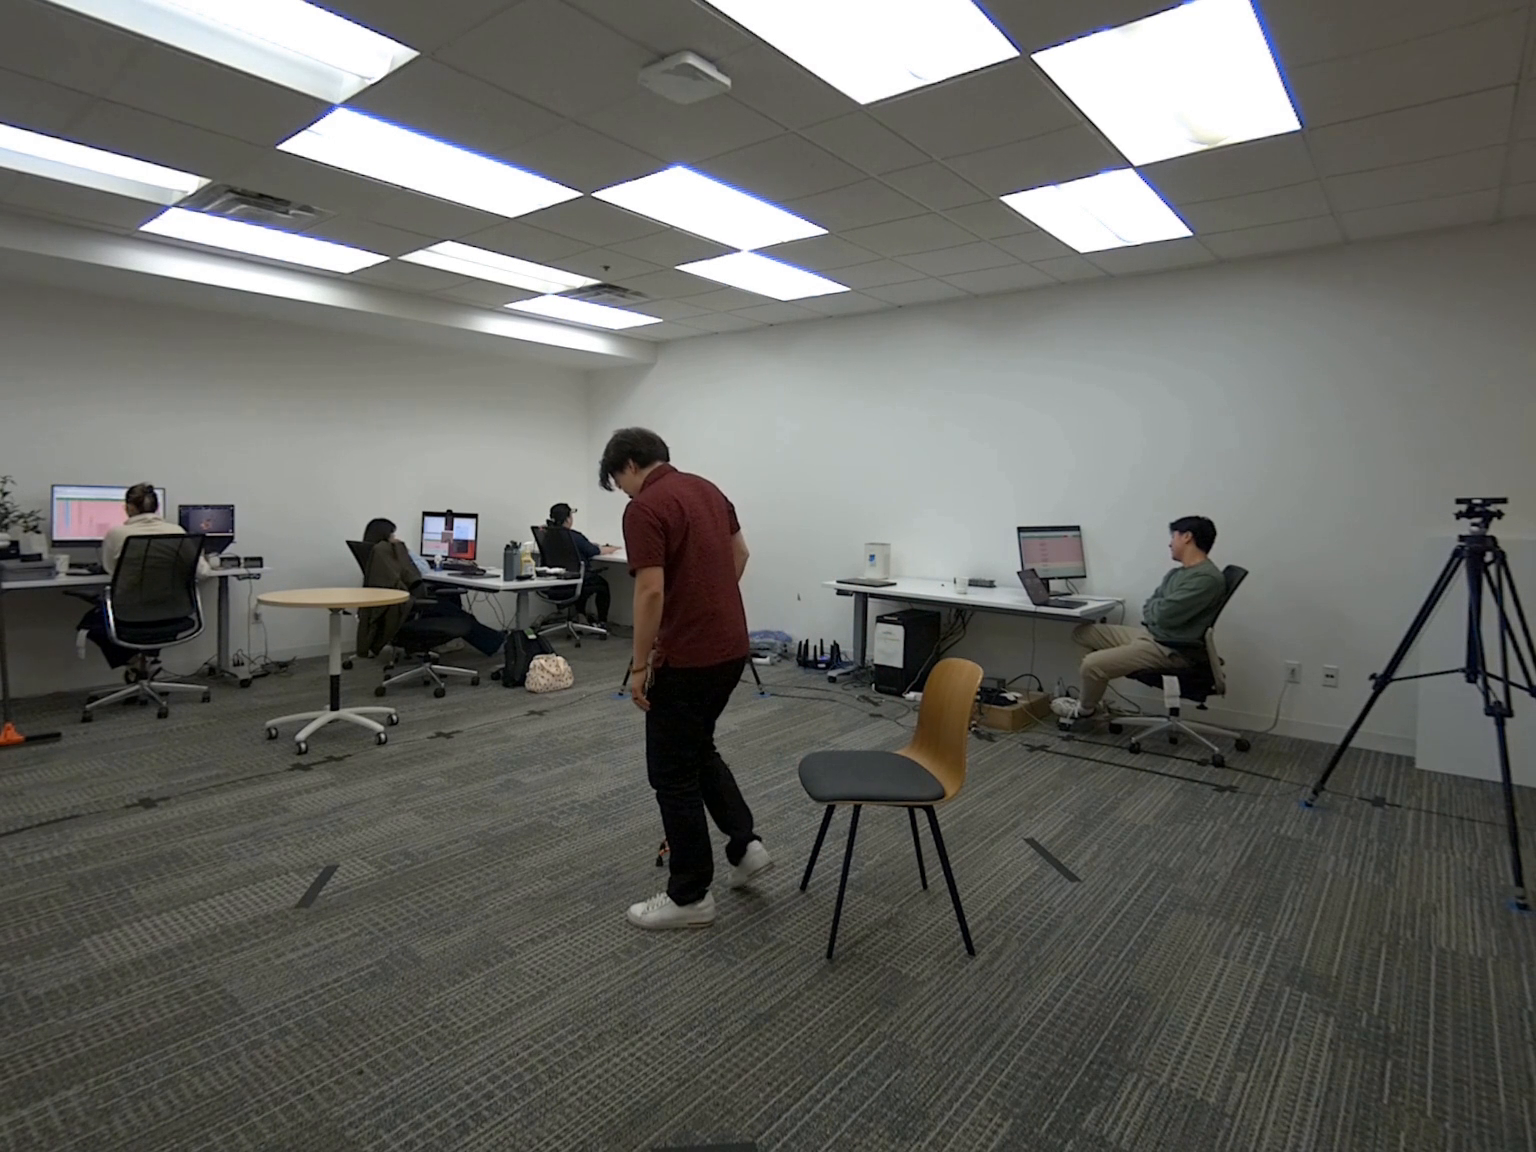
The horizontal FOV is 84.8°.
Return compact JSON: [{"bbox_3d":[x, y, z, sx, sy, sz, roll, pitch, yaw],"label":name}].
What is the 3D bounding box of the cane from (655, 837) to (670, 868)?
[{"bbox_3d":[-0.312,0.603,3.180,0.207,0.907,0.151,0,1,1],"label":"cane"}]
